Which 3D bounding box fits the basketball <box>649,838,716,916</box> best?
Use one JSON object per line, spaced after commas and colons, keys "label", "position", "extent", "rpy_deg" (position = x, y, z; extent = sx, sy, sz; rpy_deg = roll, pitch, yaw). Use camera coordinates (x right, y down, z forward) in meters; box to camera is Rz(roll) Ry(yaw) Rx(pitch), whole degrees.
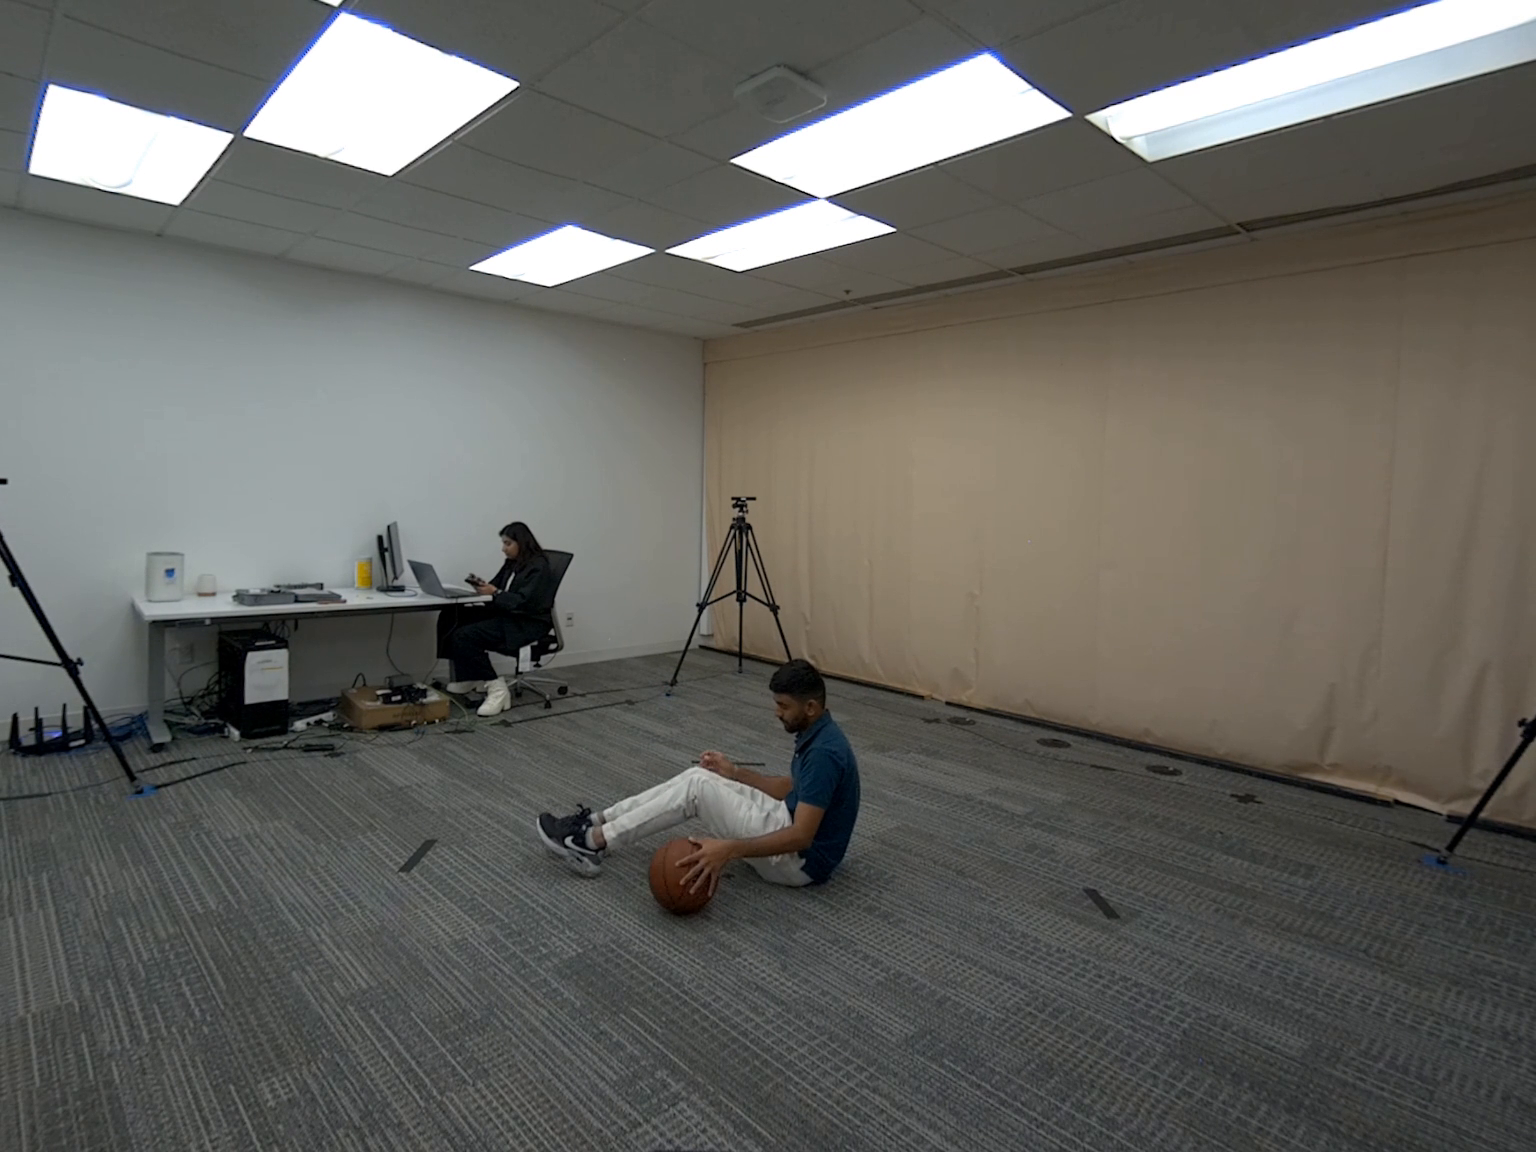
{"label": "basketball", "position": [-0.294, 1.004, 2.839], "extent": [0.236, 0.235, 0.237], "rpy_deg": [1, 4, -1]}
